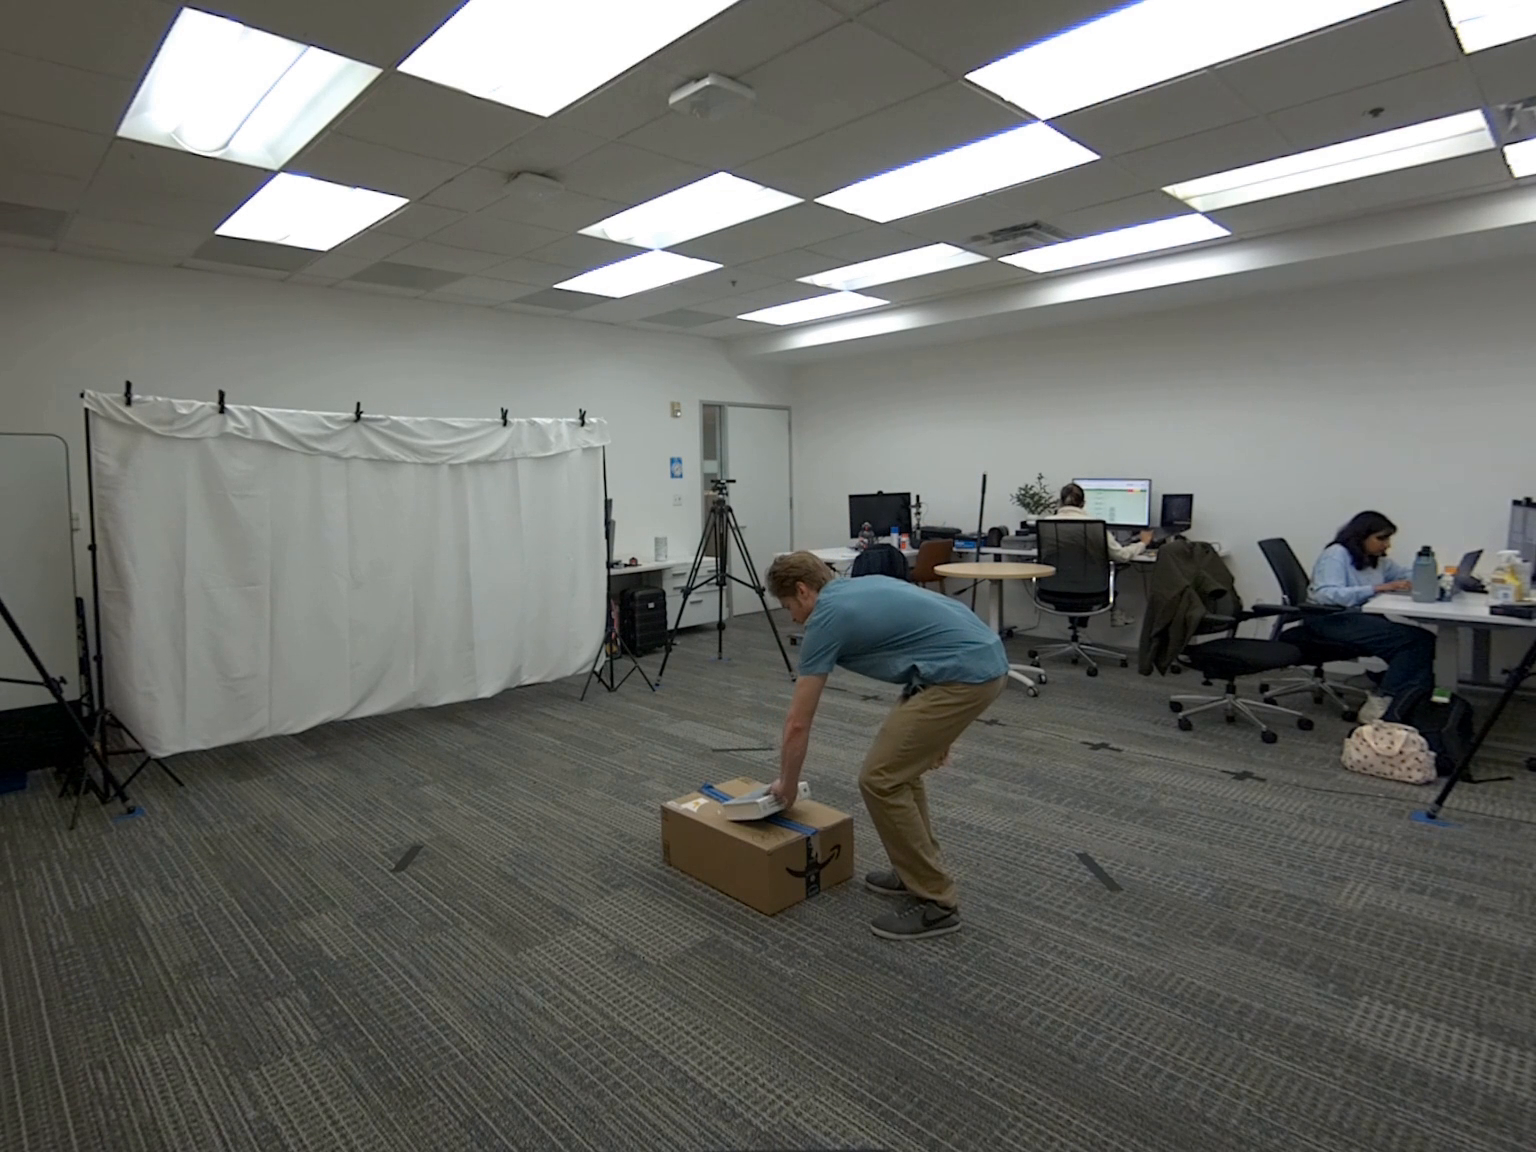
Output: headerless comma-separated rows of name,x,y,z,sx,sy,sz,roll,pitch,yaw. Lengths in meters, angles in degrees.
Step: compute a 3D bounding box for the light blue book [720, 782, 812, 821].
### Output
light blue book,-0.008,0.793,3.029,0.254,0.059,0.195,-8,-5,-45
